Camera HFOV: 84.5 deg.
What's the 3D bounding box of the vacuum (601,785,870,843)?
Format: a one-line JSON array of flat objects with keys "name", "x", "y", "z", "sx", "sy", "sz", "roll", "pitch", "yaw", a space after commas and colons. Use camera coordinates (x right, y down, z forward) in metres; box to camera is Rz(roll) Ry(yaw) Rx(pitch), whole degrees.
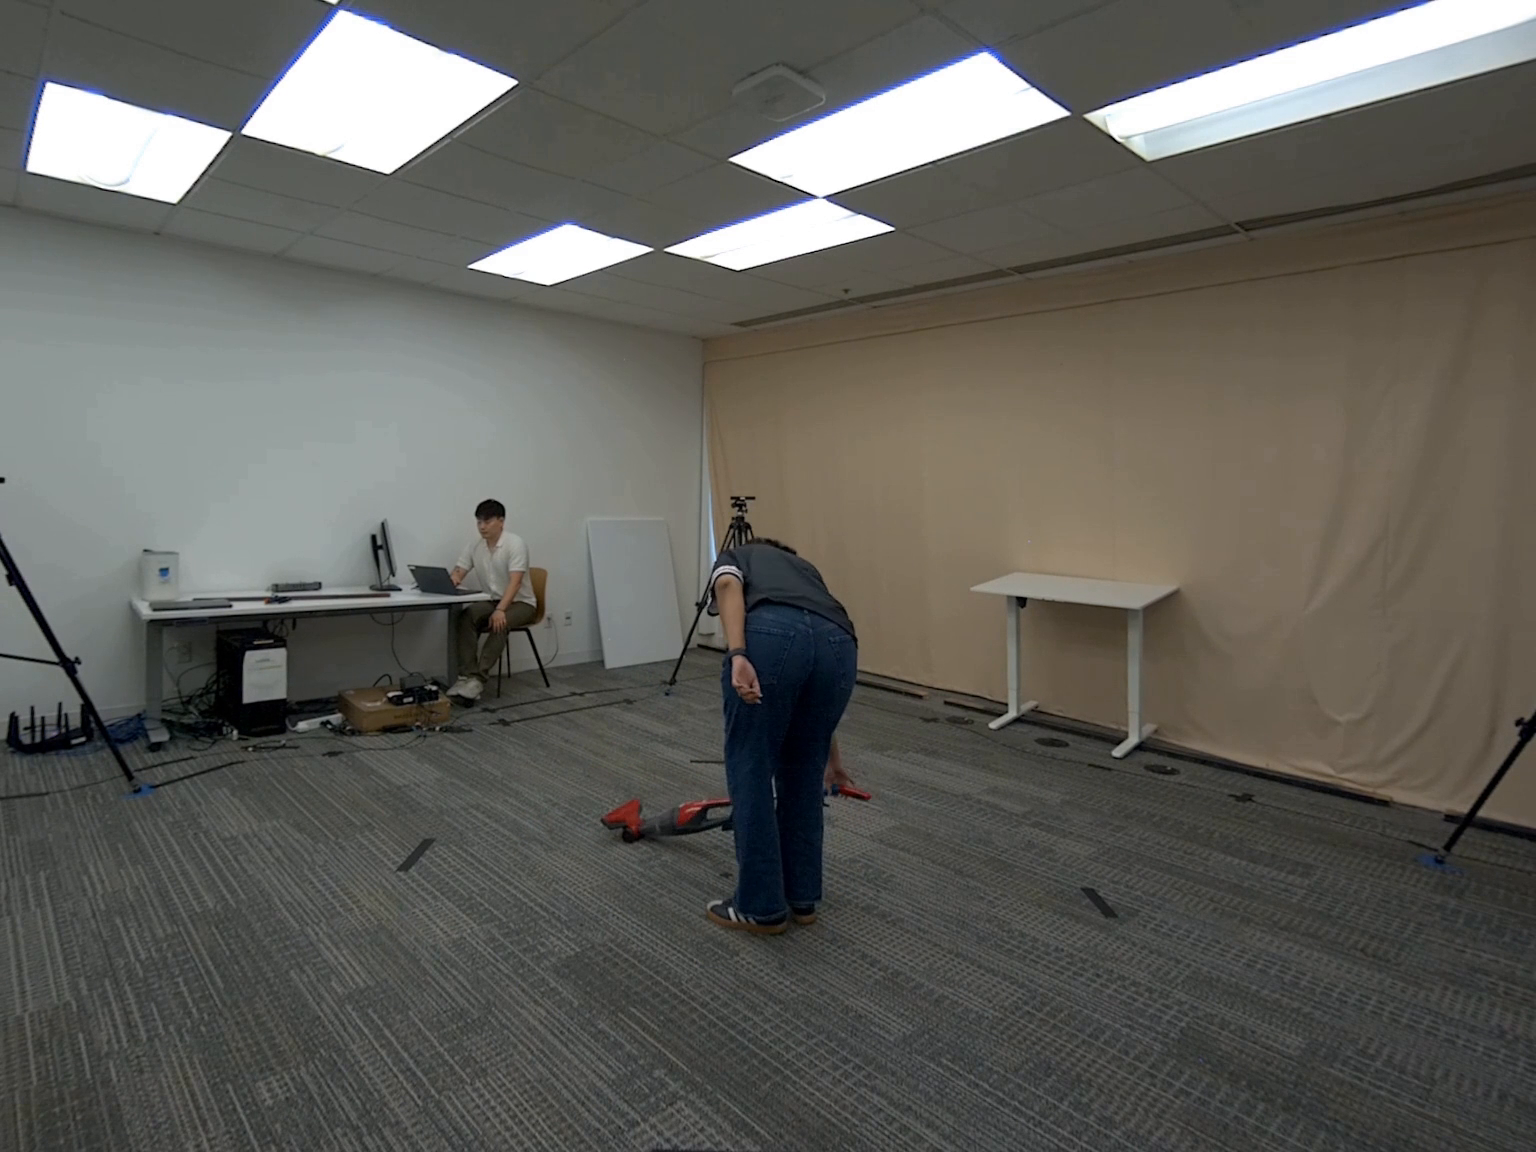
[{"name": "vacuum", "x": -0.127, "y": 0.912, "z": 3.221, "sx": 1.064, "sy": 0.144, "sz": 0.248, "roll": -13, "pitch": 0, "yaw": 26}]
